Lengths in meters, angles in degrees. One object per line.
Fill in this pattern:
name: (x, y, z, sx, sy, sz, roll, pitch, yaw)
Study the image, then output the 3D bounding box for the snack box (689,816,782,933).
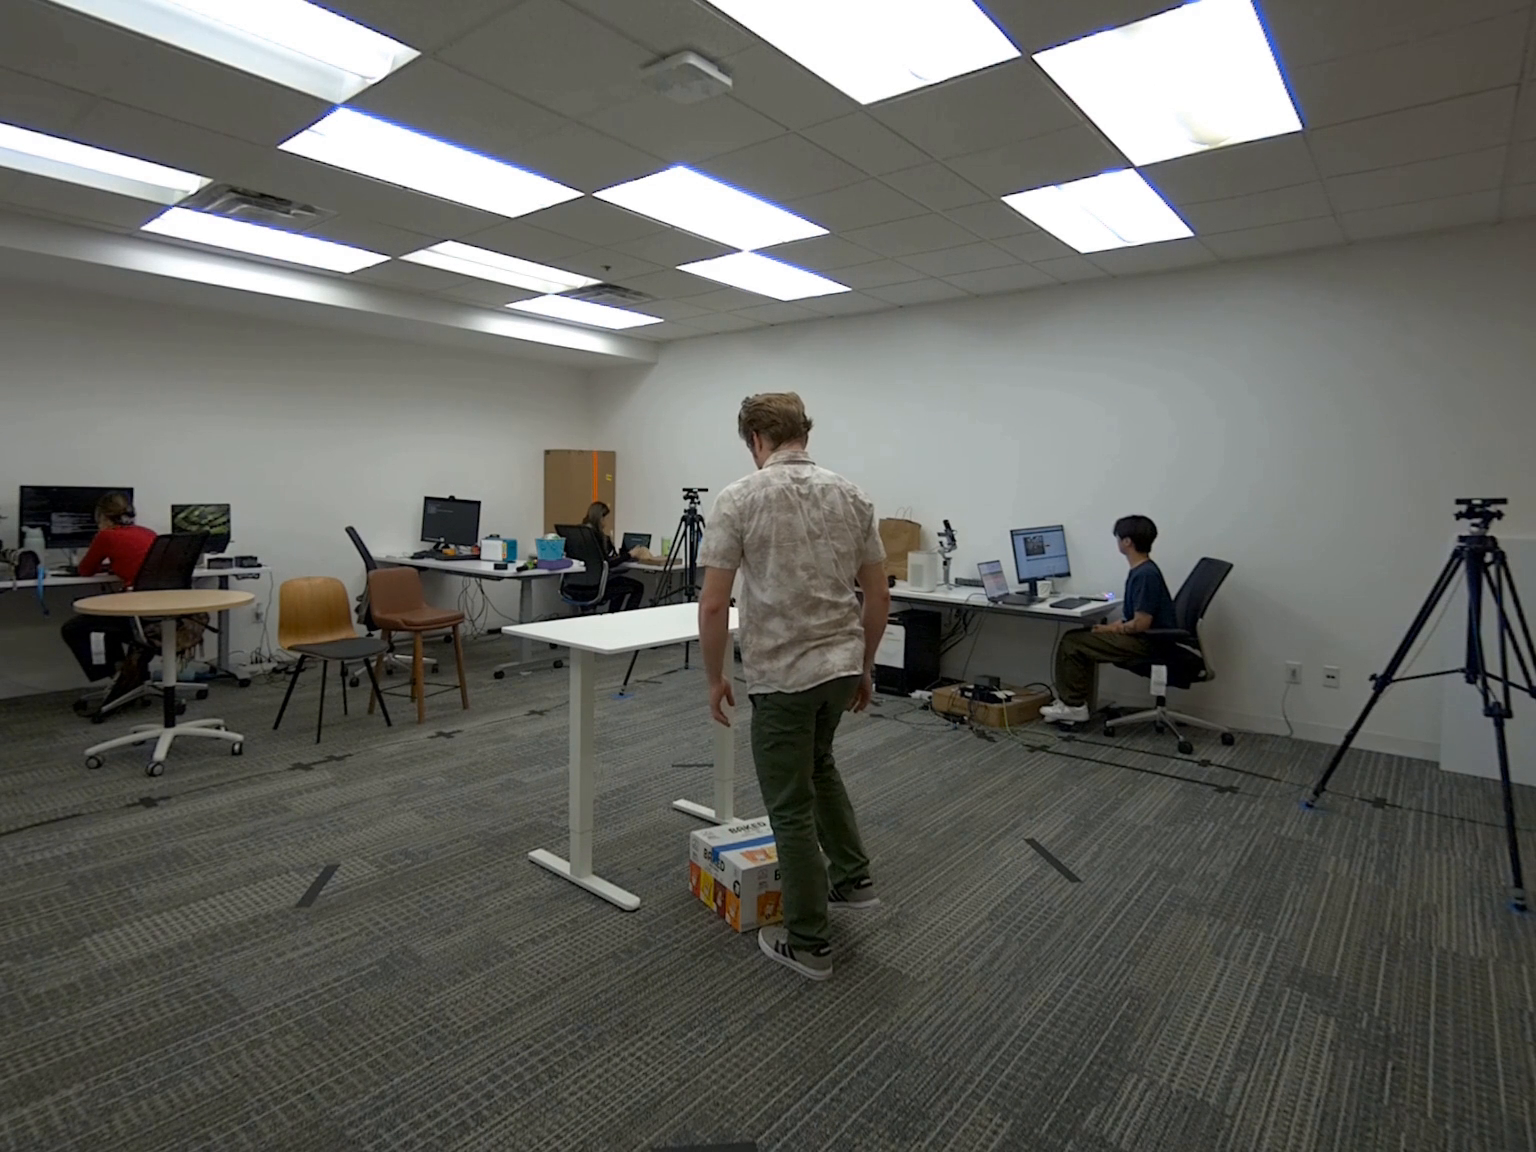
snack box: (-0.020, 0.992, 2.899, 0.394, 0.205, 0.351, -2, 6, -32)
